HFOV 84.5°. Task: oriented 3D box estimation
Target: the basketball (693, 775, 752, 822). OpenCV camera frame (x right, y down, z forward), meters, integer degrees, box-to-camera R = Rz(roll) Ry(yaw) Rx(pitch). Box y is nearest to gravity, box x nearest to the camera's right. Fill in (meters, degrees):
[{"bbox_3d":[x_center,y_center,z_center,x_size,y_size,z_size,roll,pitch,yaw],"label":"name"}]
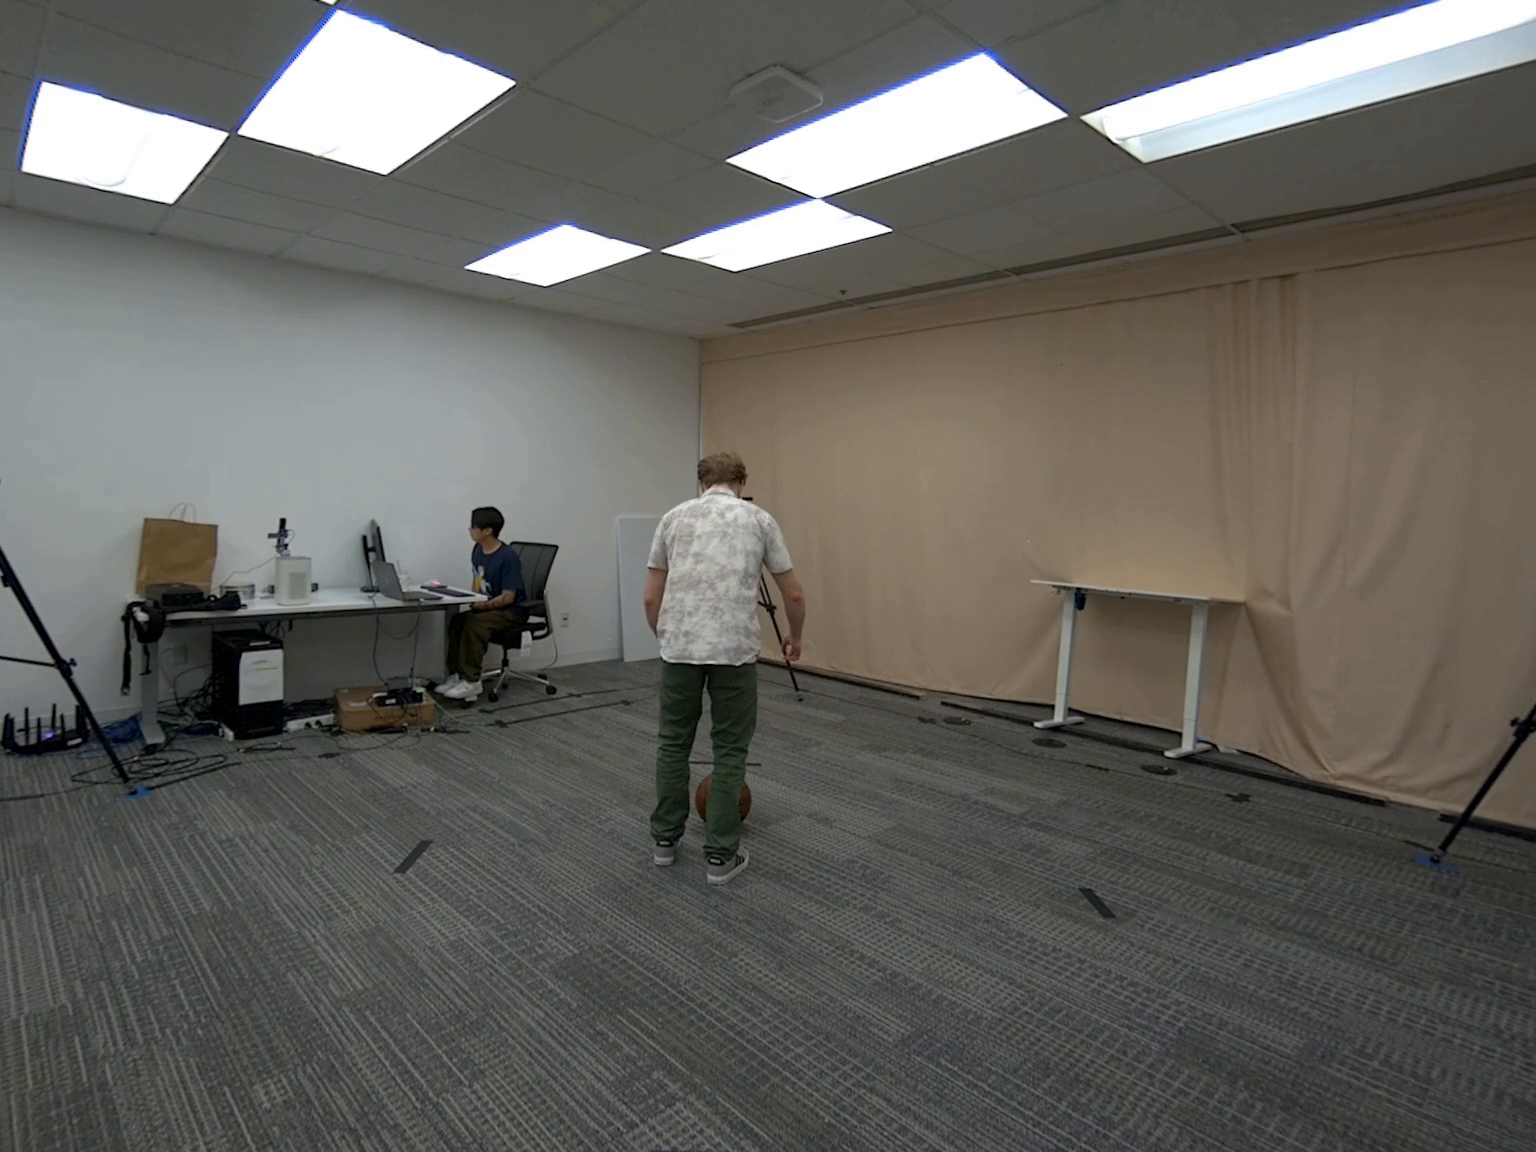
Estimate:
[{"bbox_3d":[-0.194,0.945,3.562,0.236,0.235,0.237,1,4,-1],"label":"basketball"}]
